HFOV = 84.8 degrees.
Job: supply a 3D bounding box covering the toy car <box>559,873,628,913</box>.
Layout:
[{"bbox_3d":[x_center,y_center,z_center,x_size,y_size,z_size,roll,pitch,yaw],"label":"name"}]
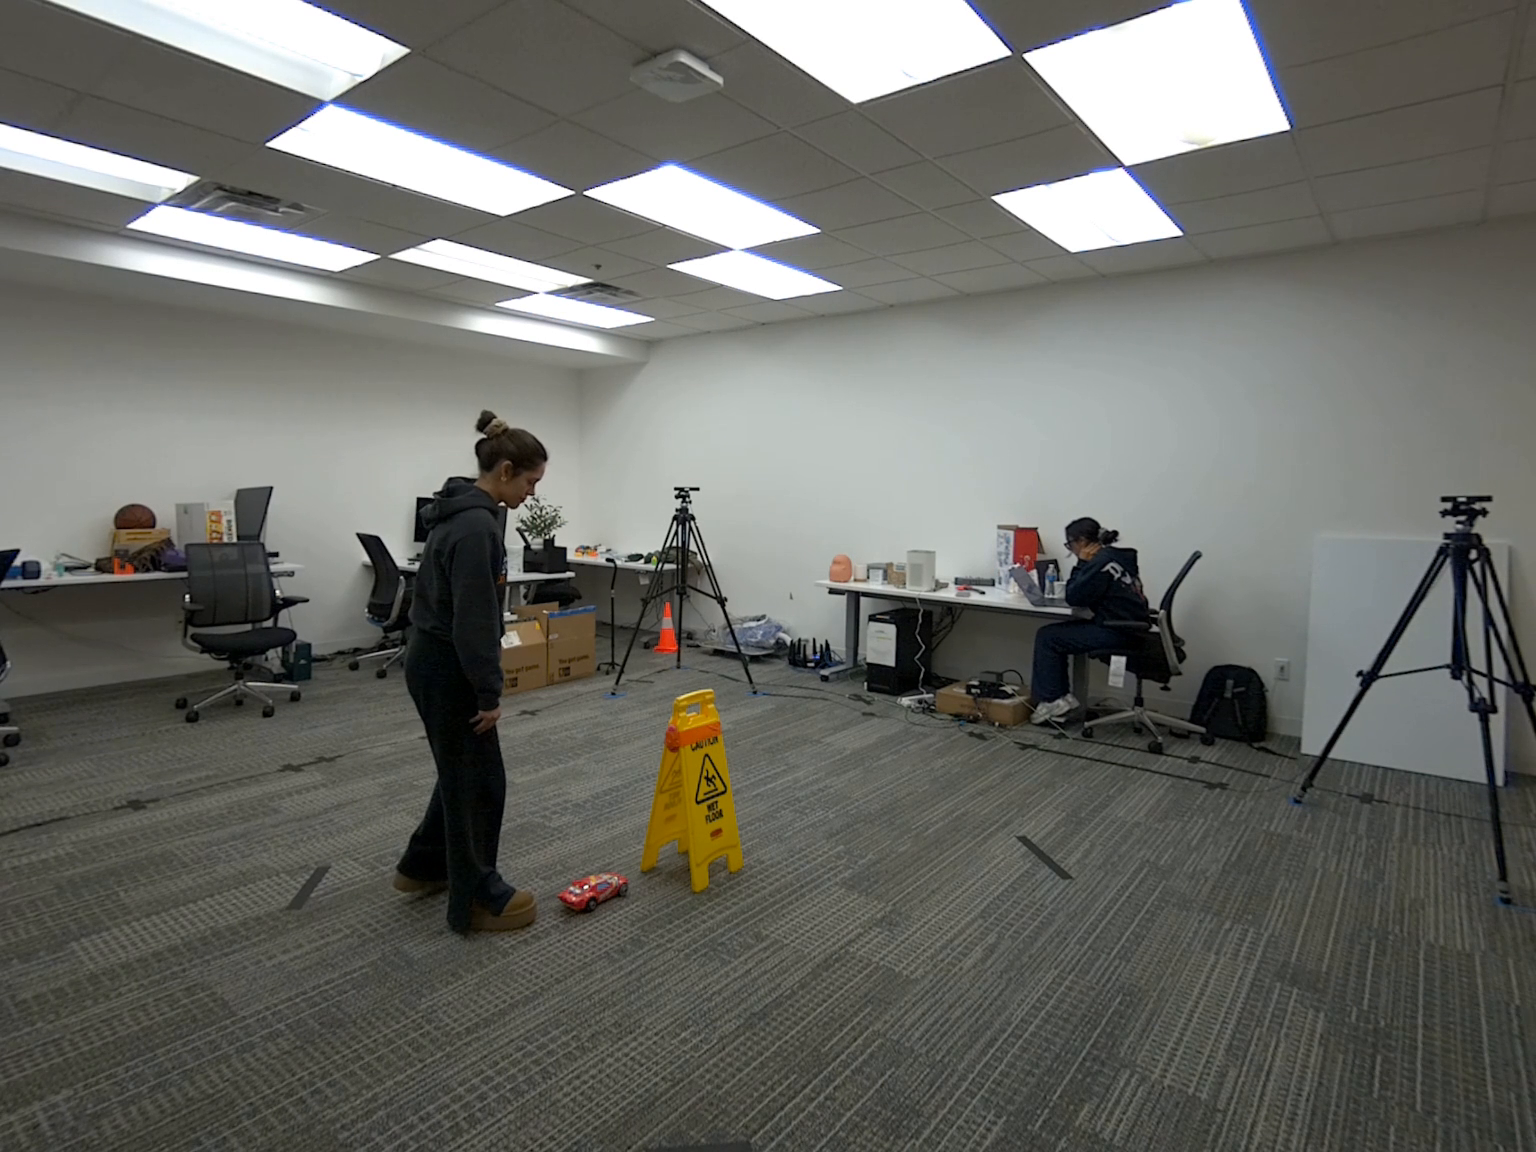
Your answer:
[{"bbox_3d":[-0.586,1.059,2.841,0.135,0.083,0.245,5,-4,39],"label":"toy car"}]
